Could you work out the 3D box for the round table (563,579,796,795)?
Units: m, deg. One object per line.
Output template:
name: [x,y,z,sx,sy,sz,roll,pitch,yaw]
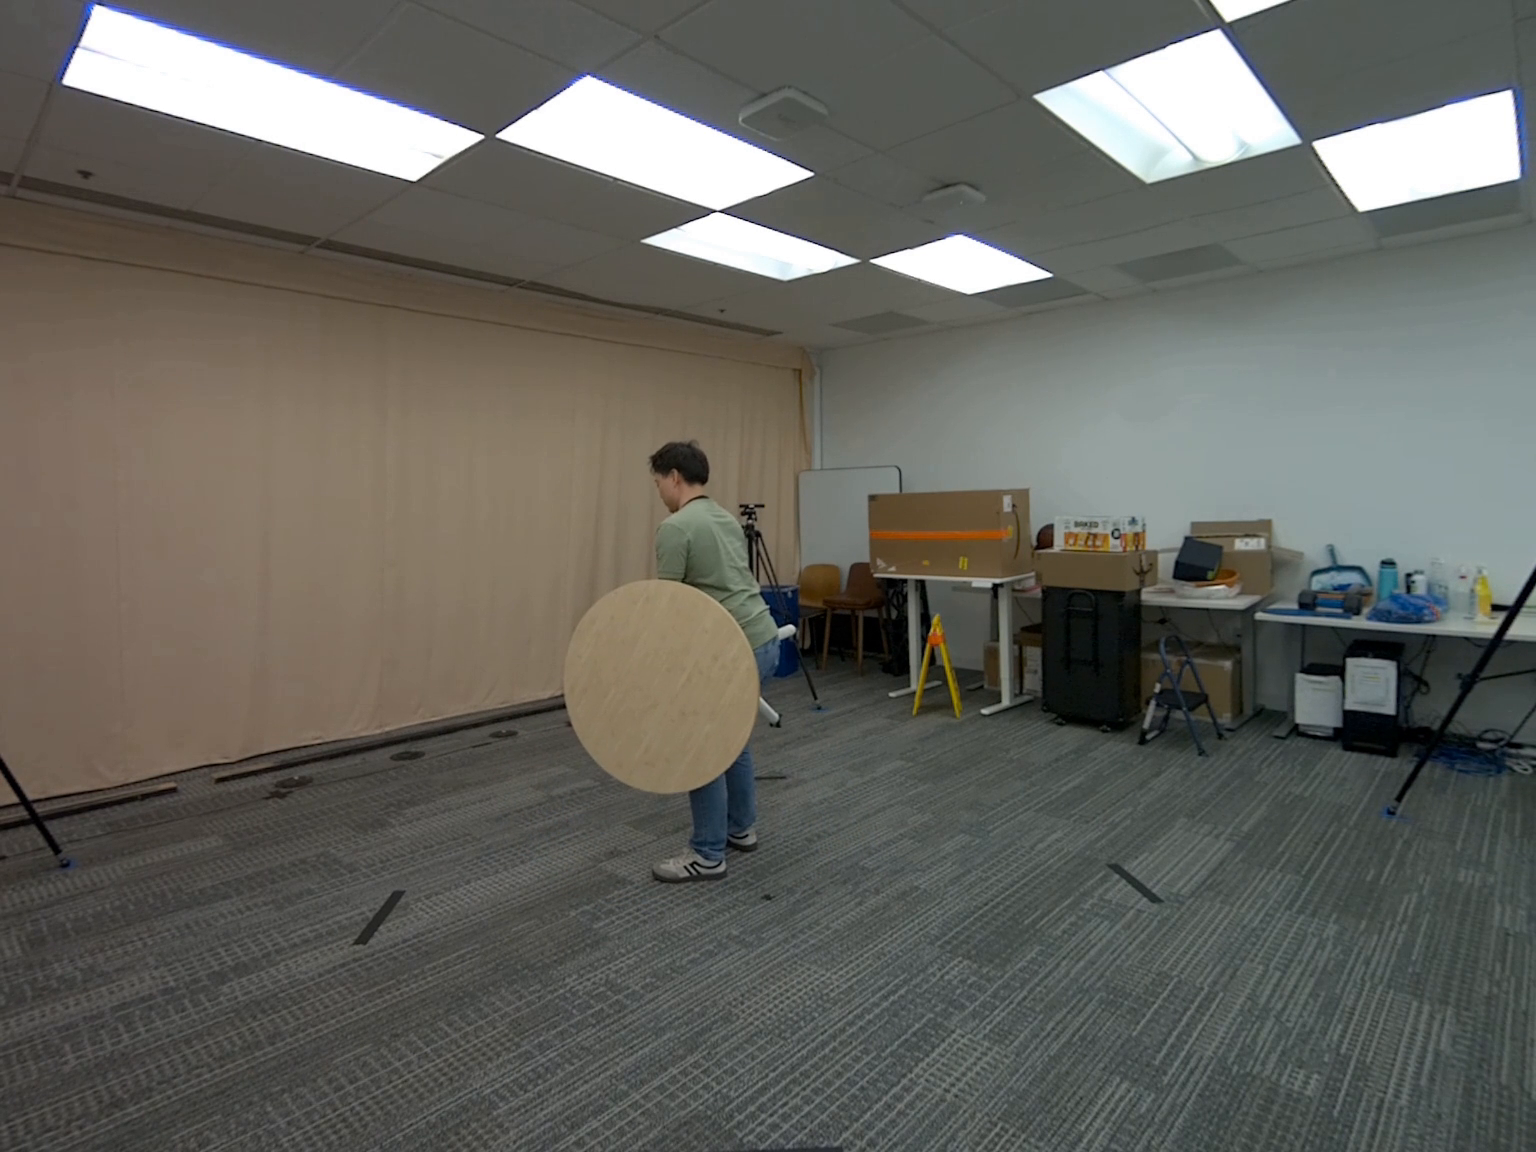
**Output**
round table: [-0.285,0.391,3.397,0.780,0.763,0.778,1,2,19]
